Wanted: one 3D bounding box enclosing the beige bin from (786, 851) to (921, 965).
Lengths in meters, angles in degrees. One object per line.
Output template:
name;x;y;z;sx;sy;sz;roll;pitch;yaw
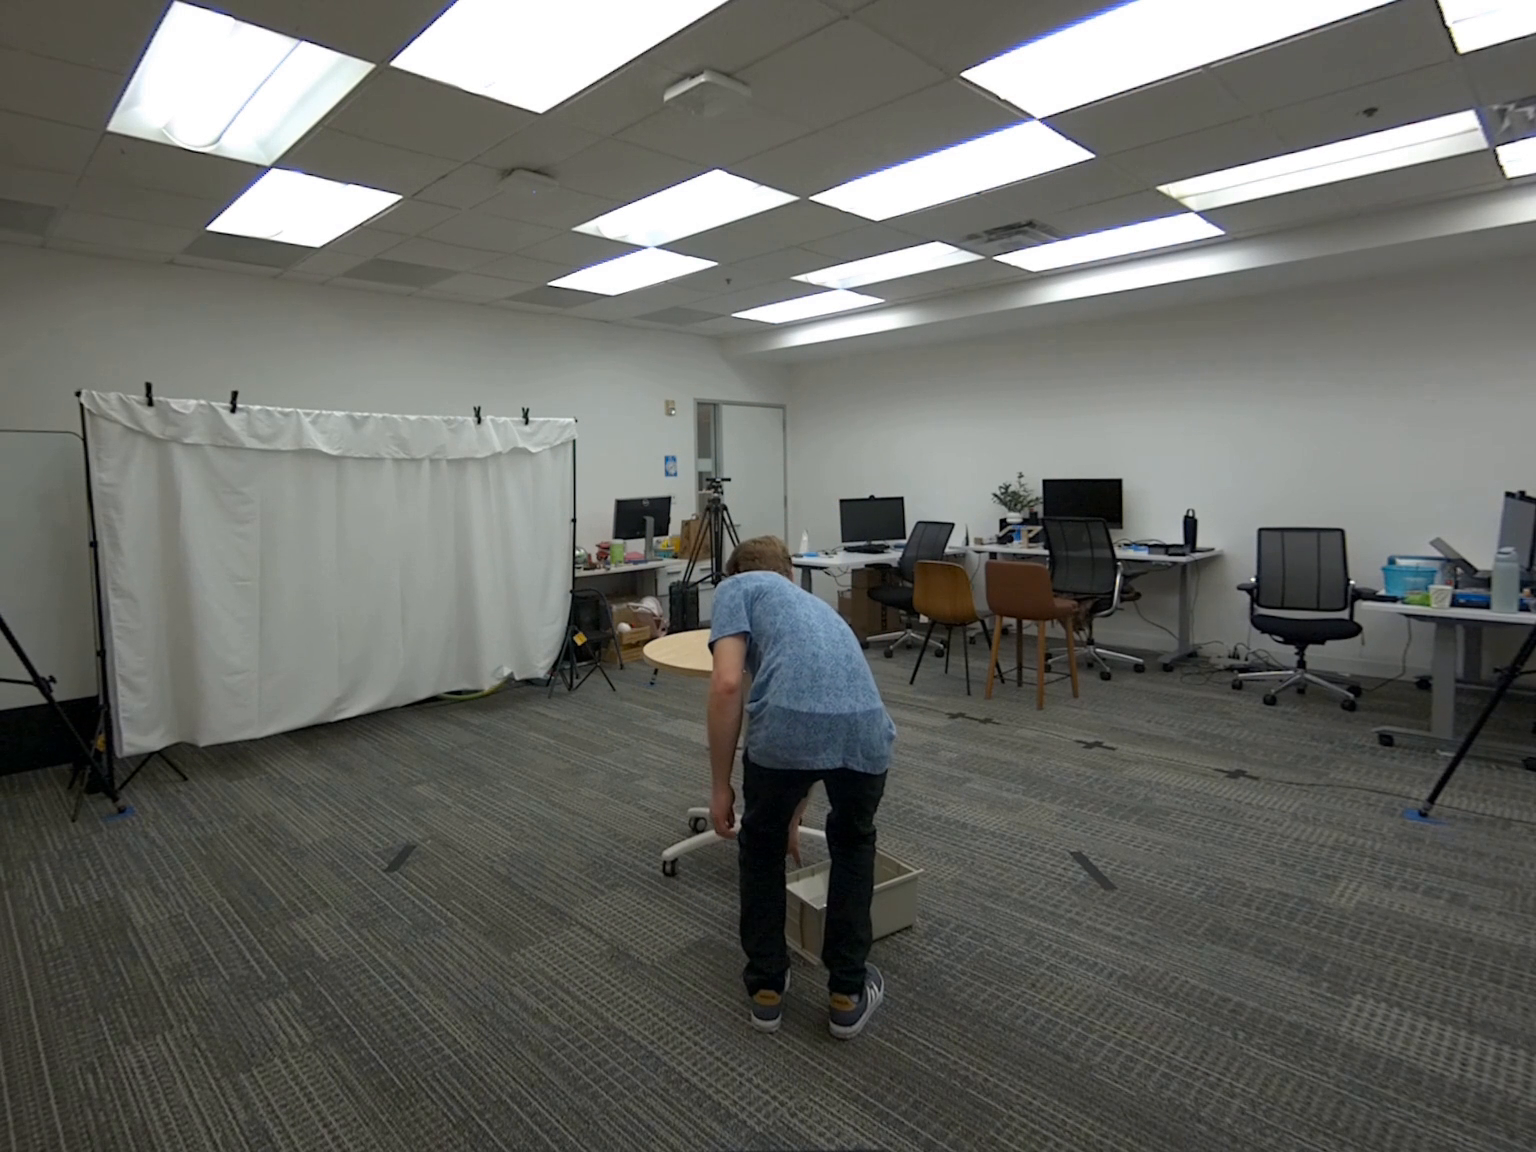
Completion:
beige bin;0.209;0.999;2.684;0.412;0.188;0.389;-5;8;-35
